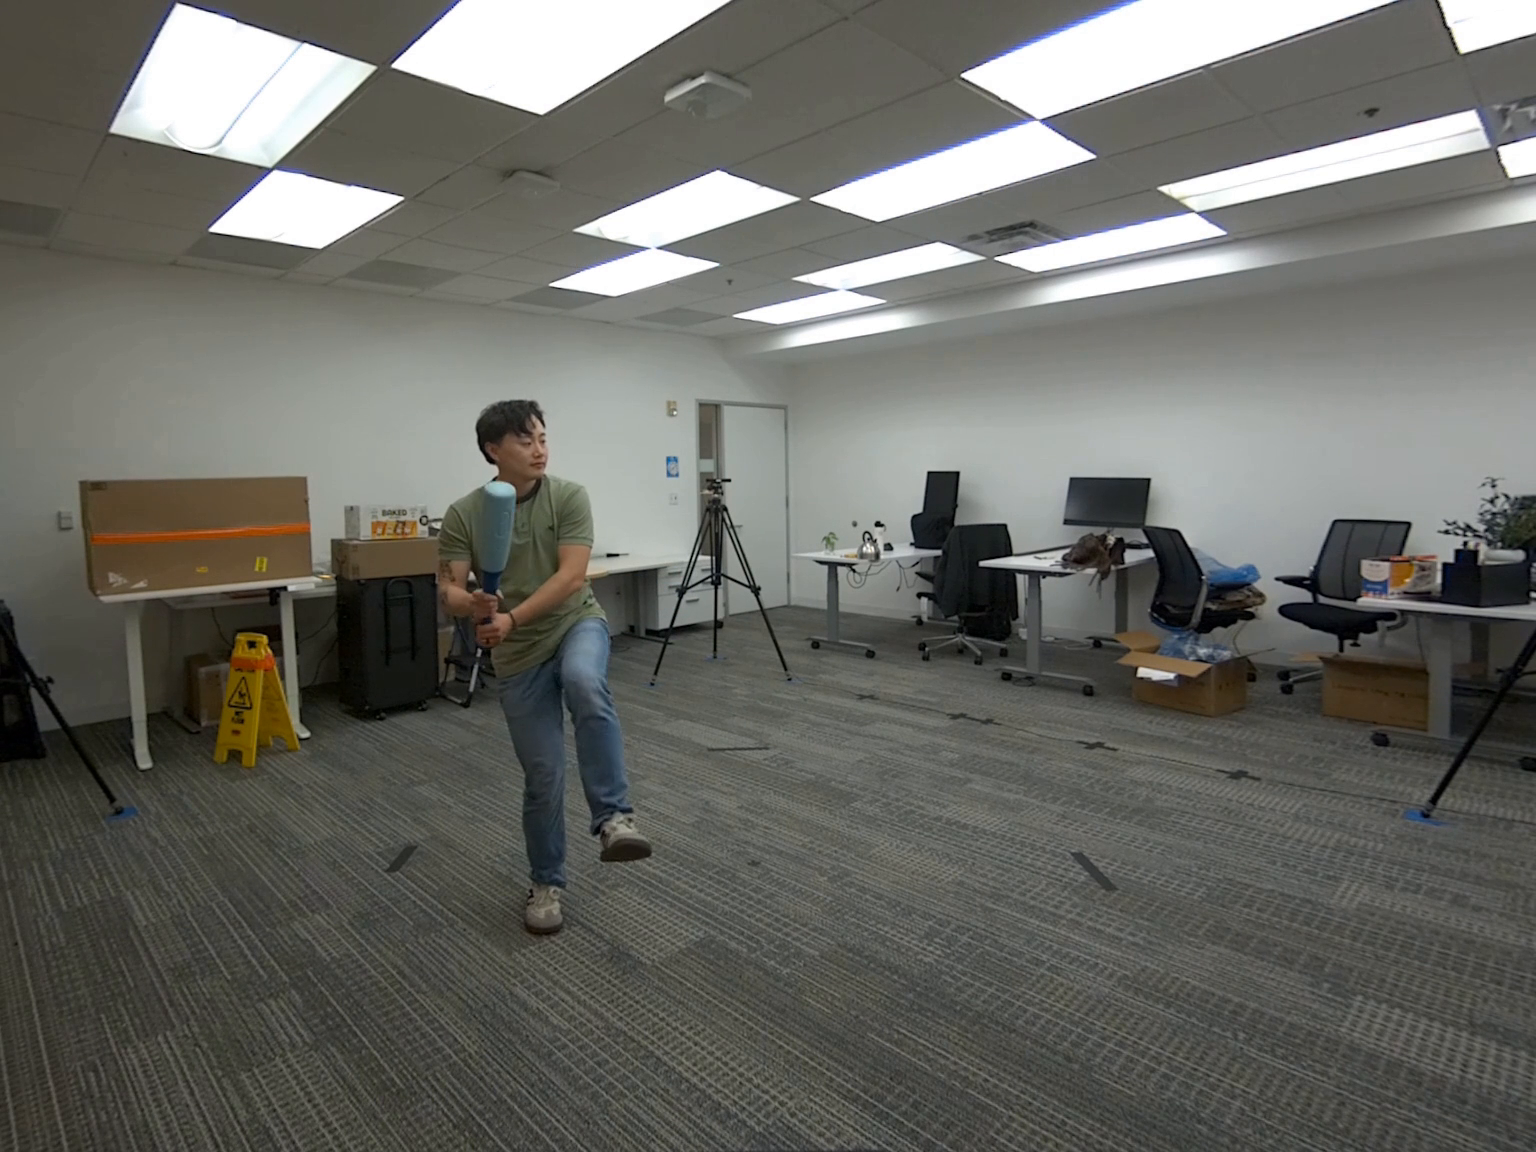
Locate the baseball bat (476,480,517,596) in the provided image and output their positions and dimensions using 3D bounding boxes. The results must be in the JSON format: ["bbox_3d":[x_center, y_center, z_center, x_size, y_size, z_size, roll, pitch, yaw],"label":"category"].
[{"bbox_3d":[-0.770,-0.004,2.359,0.088,0.533,0.091,8,31,-7],"label":"baseball bat"}]
